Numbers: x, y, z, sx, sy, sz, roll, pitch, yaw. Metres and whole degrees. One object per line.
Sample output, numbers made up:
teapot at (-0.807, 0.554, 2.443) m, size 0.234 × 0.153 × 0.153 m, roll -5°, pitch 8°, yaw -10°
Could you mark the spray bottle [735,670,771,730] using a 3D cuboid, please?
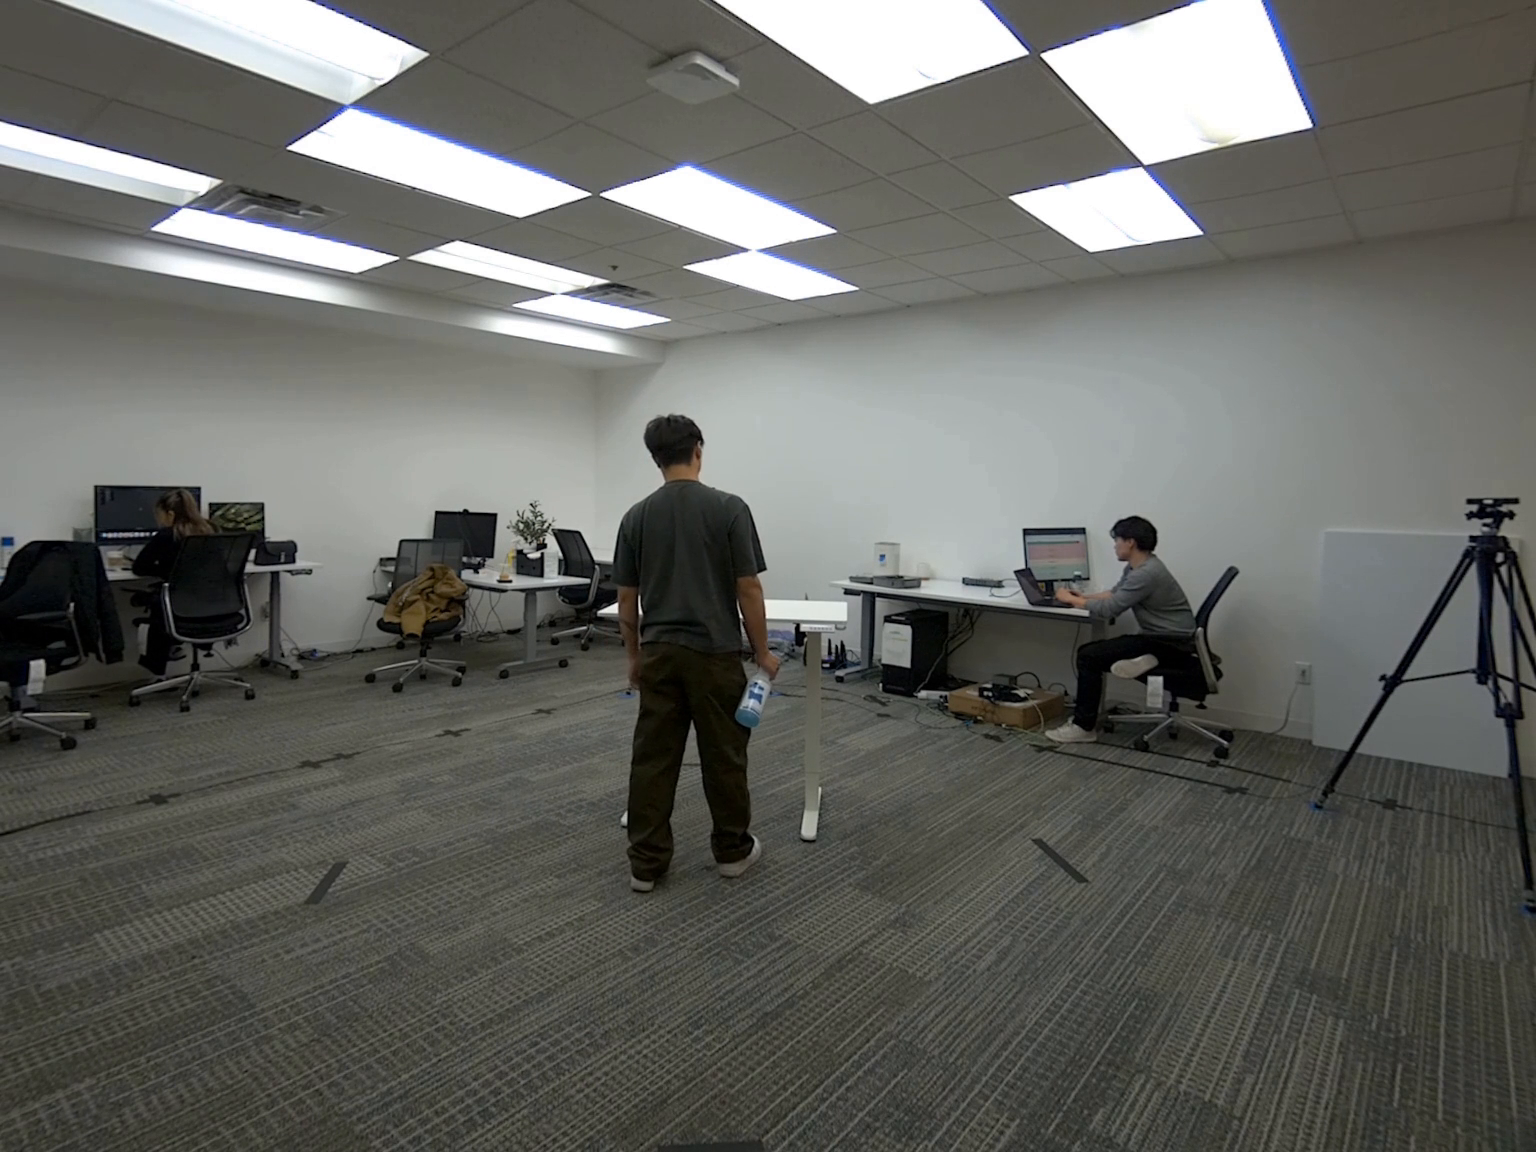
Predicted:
spray bottle at (-0.041, 0.388, 2.989) m, size 0.088 × 0.301 × 0.088 m, roll 37°, pitch -44°, yaw -16°
